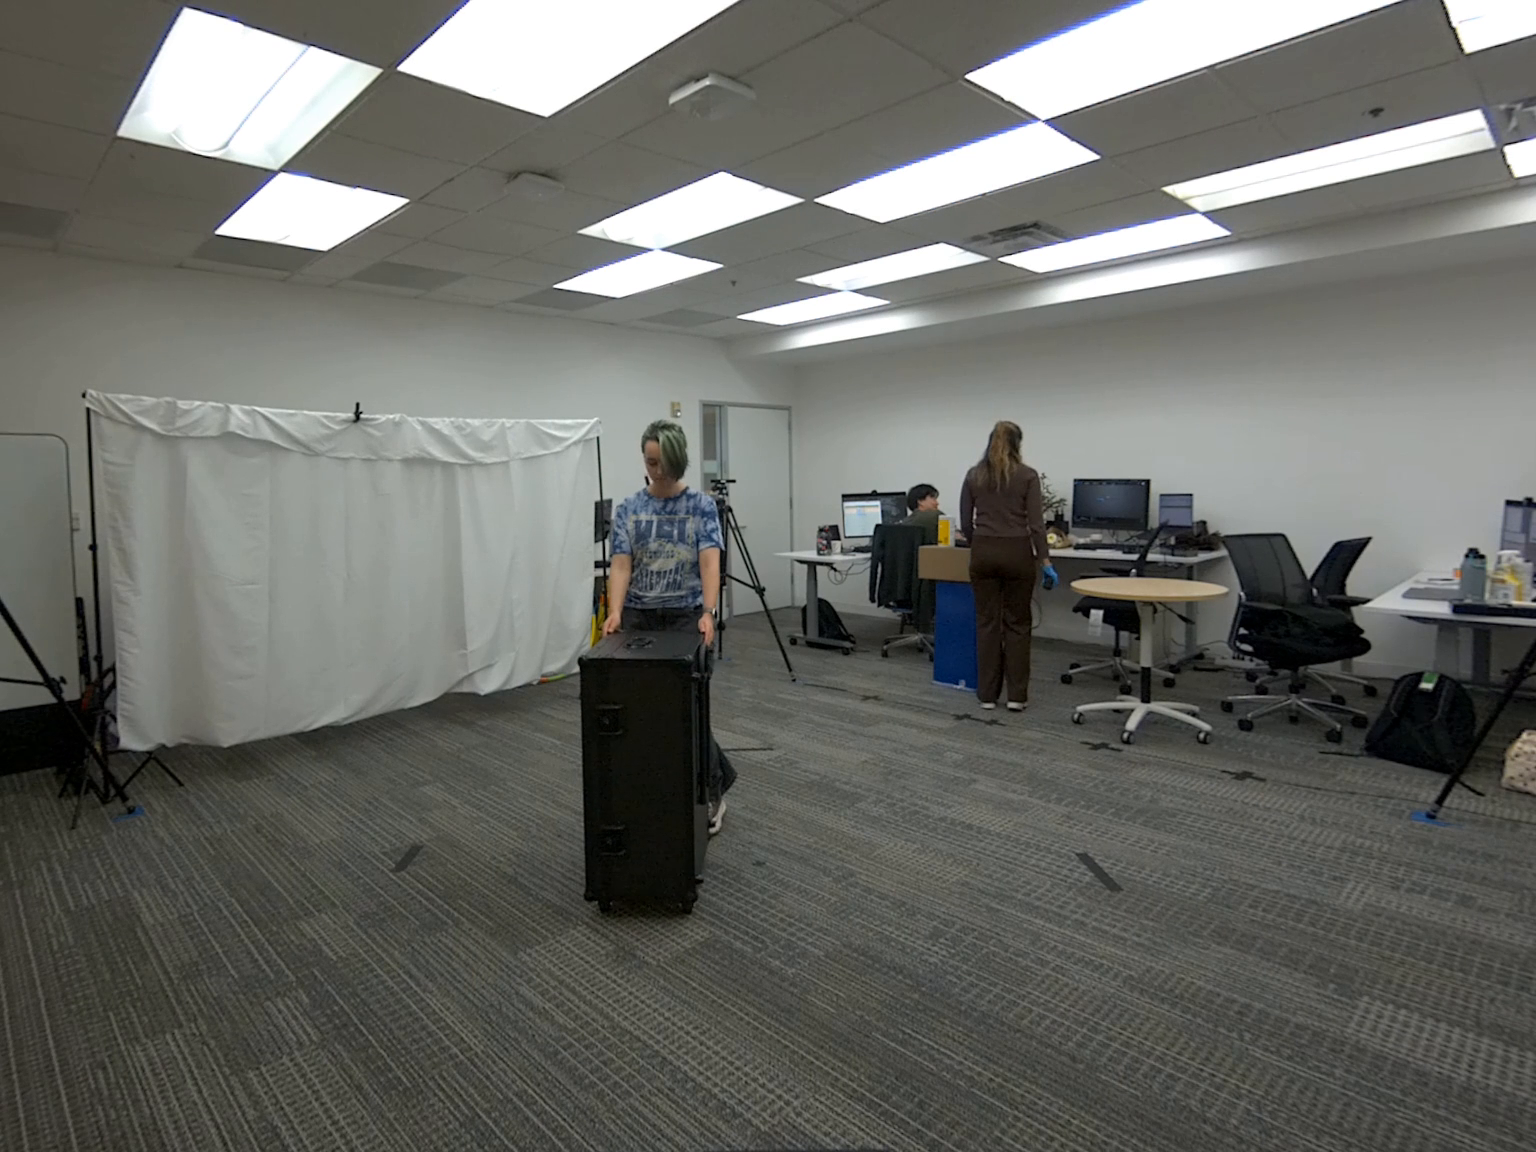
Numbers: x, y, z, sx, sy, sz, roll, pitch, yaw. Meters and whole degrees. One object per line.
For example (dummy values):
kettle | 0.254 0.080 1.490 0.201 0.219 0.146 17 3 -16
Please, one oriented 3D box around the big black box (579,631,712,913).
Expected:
big black box | -0.396 0.660 2.912 0.398 0.858 0.521 0 4 4
